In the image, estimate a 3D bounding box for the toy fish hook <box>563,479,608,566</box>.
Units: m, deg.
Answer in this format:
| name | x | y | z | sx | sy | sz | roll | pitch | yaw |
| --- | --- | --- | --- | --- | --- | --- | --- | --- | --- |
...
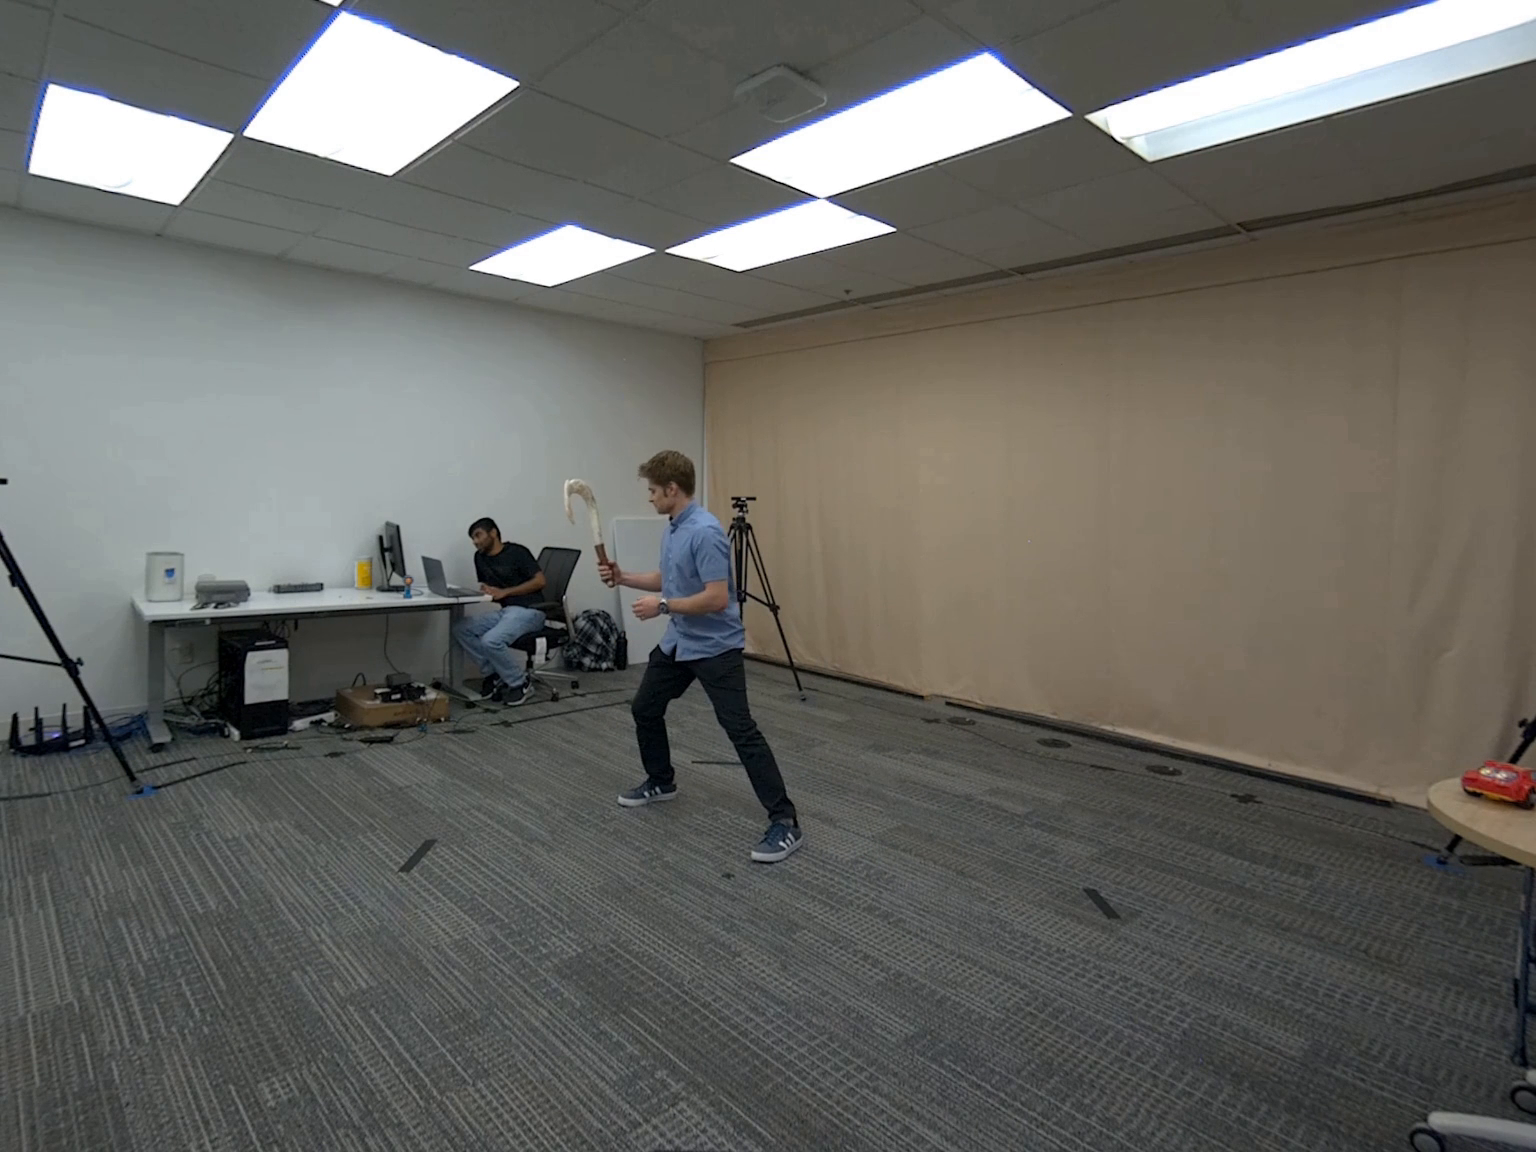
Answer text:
| name | x | y | z | sx | sy | sz | roll | pitch | yaw |
| --- | --- | --- | --- | --- | --- | --- | --- | --- | --- |
| toy fish hook | -0.786 | -0.180 | 3.705 | 0.049 | 0.506 | 0.222 | -17 | 2 | 27 |
